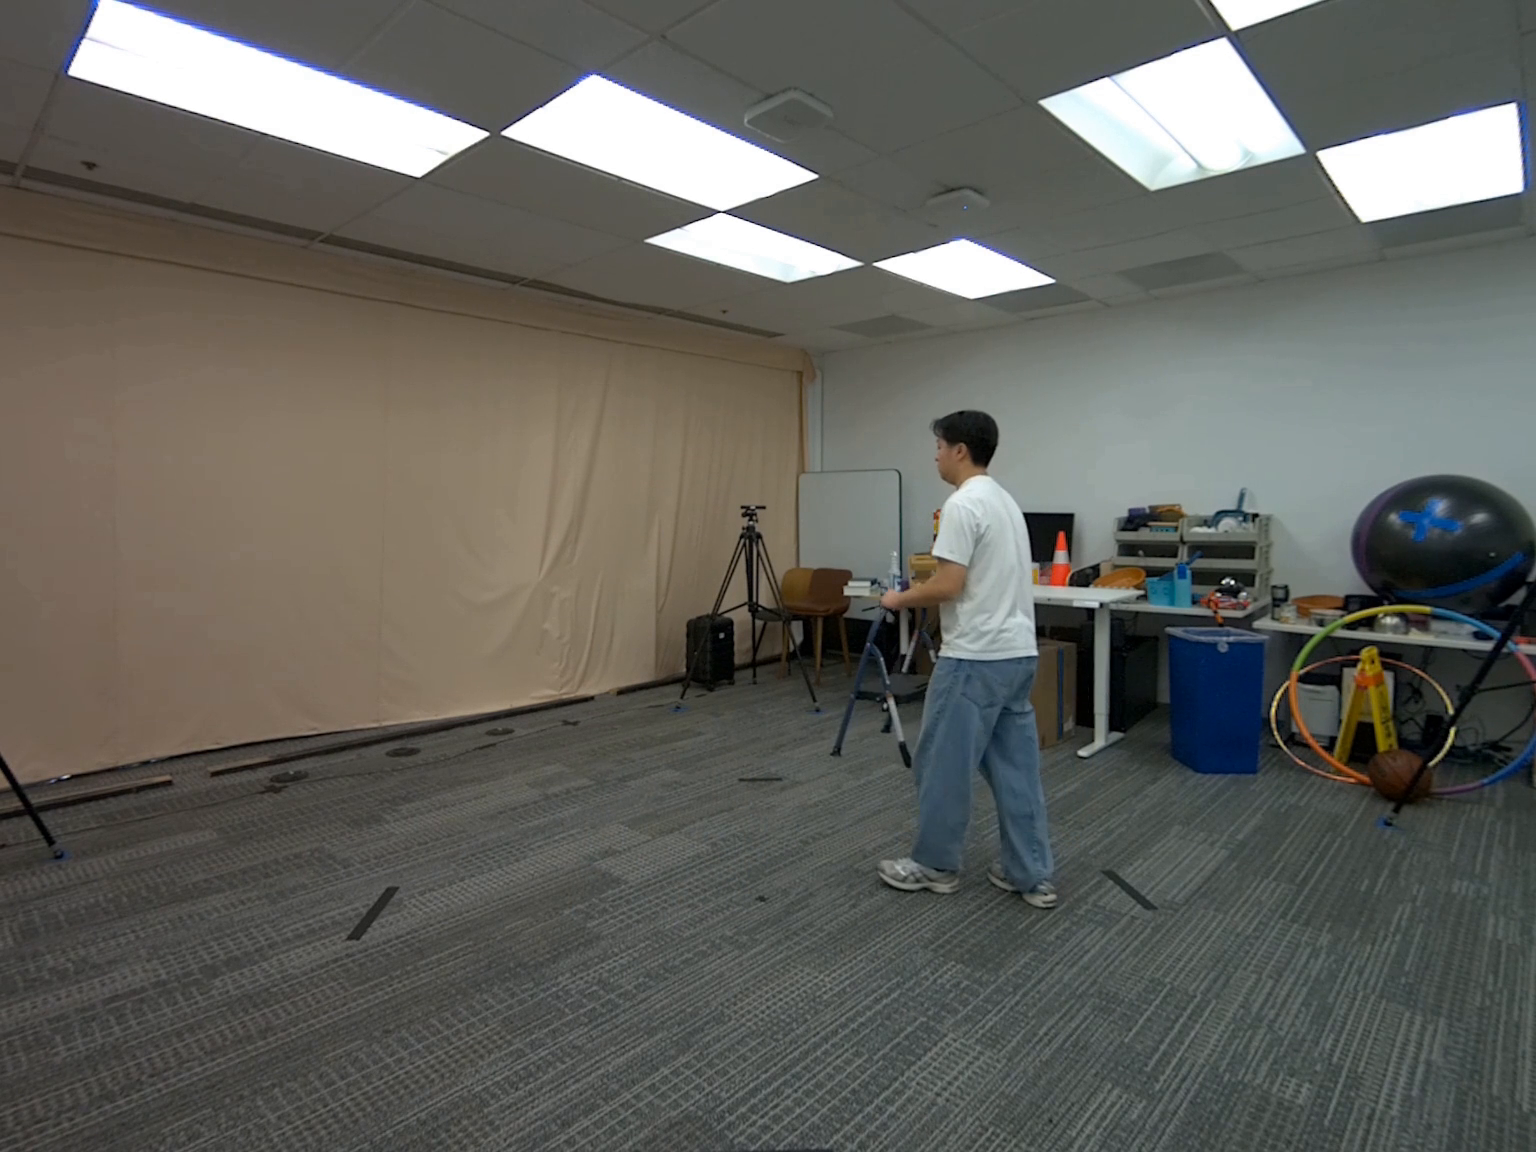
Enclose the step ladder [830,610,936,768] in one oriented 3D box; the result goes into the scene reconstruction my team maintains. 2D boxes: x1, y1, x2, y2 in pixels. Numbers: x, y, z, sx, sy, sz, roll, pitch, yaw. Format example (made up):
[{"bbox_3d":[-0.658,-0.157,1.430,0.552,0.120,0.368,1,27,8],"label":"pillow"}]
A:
[{"bbox_3d":[0.489,0.381,3.289,0.360,0.605,0.418,-1,4,38],"label":"step ladder"}]
